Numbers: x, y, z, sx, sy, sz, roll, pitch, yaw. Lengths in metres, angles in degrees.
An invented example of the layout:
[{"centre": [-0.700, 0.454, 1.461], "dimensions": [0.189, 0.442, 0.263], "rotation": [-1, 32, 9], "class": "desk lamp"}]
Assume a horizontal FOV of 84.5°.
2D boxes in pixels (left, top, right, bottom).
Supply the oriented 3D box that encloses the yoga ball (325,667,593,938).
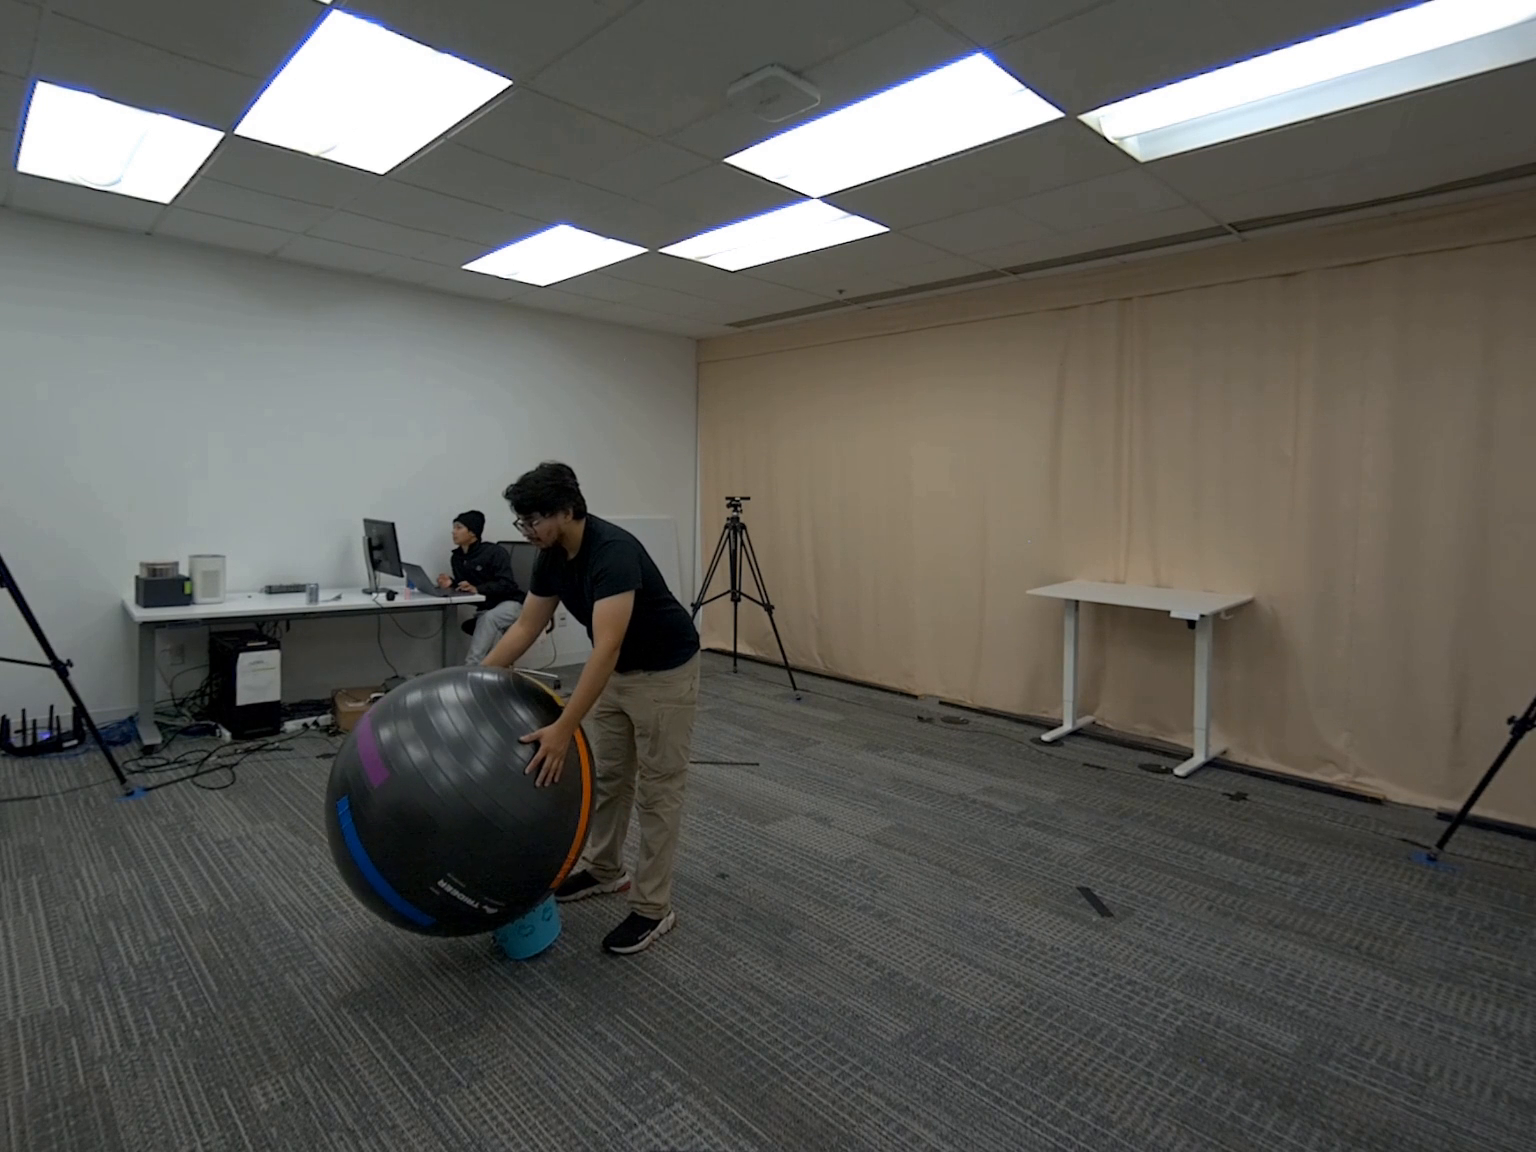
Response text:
[{"centre": [-0.896, 0.653, 2.462], "dimensions": [0.757, 0.756, 0.761], "rotation": [1, 4, -1], "class": "yoga ball"}]
